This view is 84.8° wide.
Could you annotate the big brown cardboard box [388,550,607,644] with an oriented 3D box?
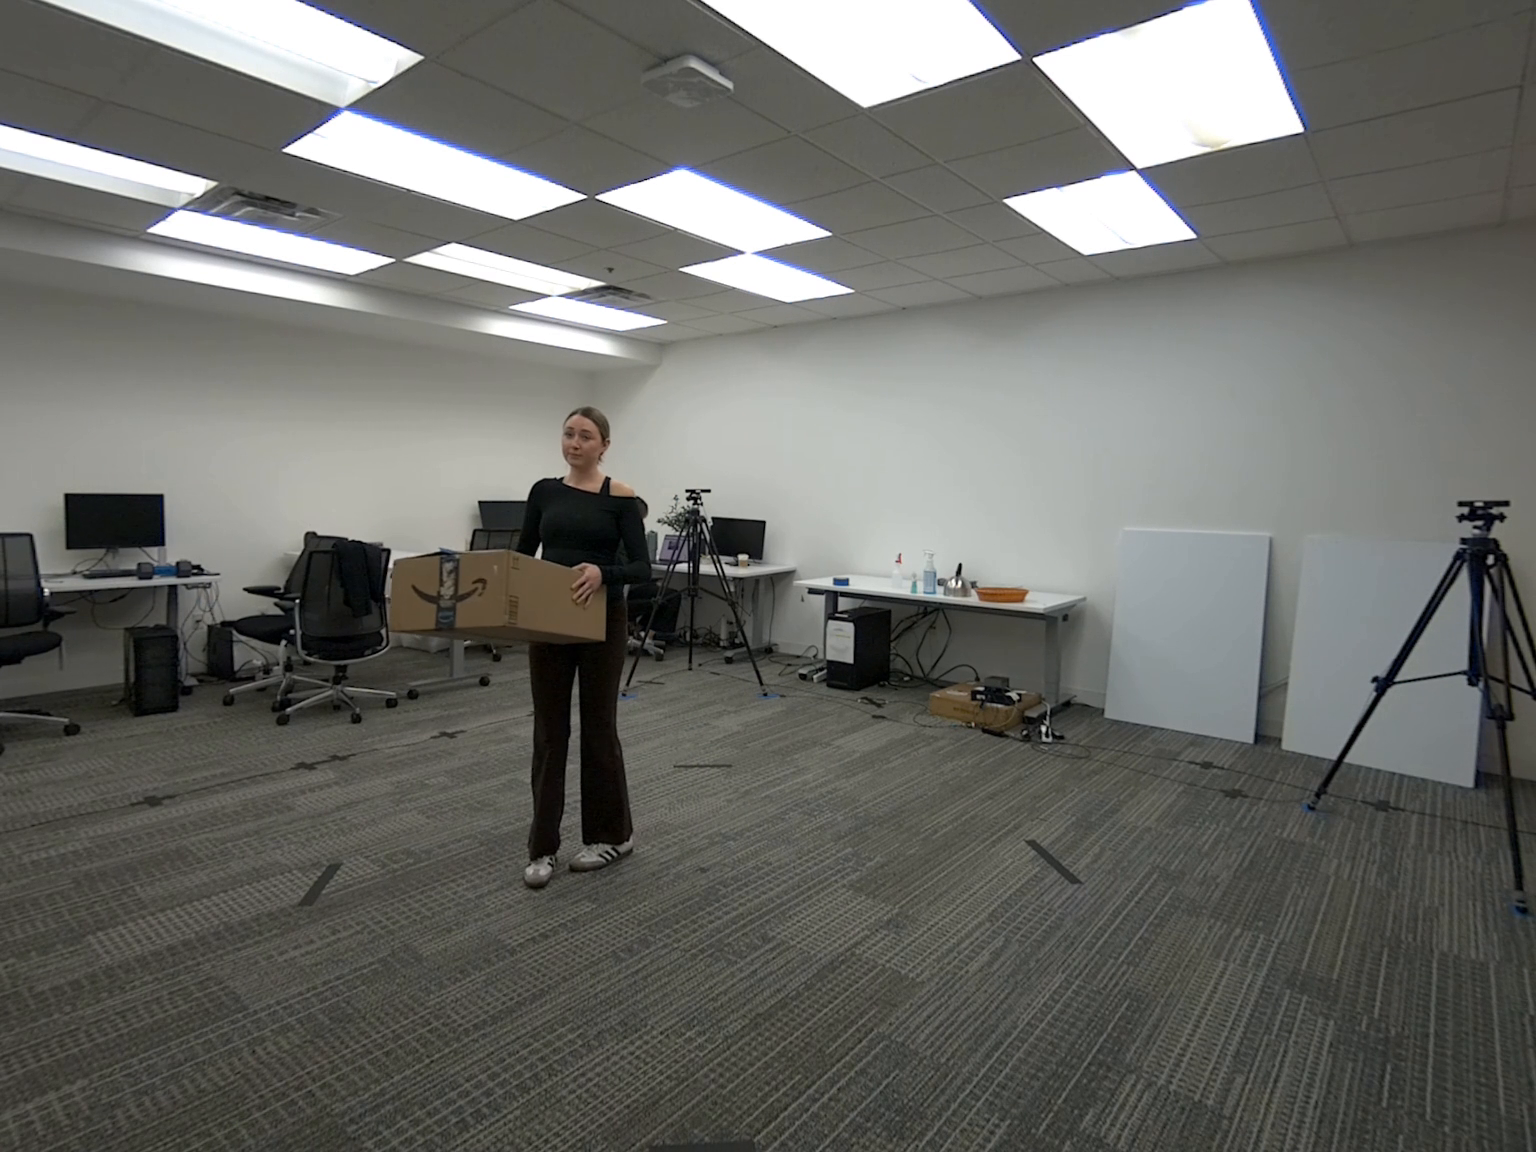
[{"bbox_3d":[-0.842,0.076,2.679,0.426,0.236,0.571,-3,-10,20],"label":"big brown cardboard box"}]
